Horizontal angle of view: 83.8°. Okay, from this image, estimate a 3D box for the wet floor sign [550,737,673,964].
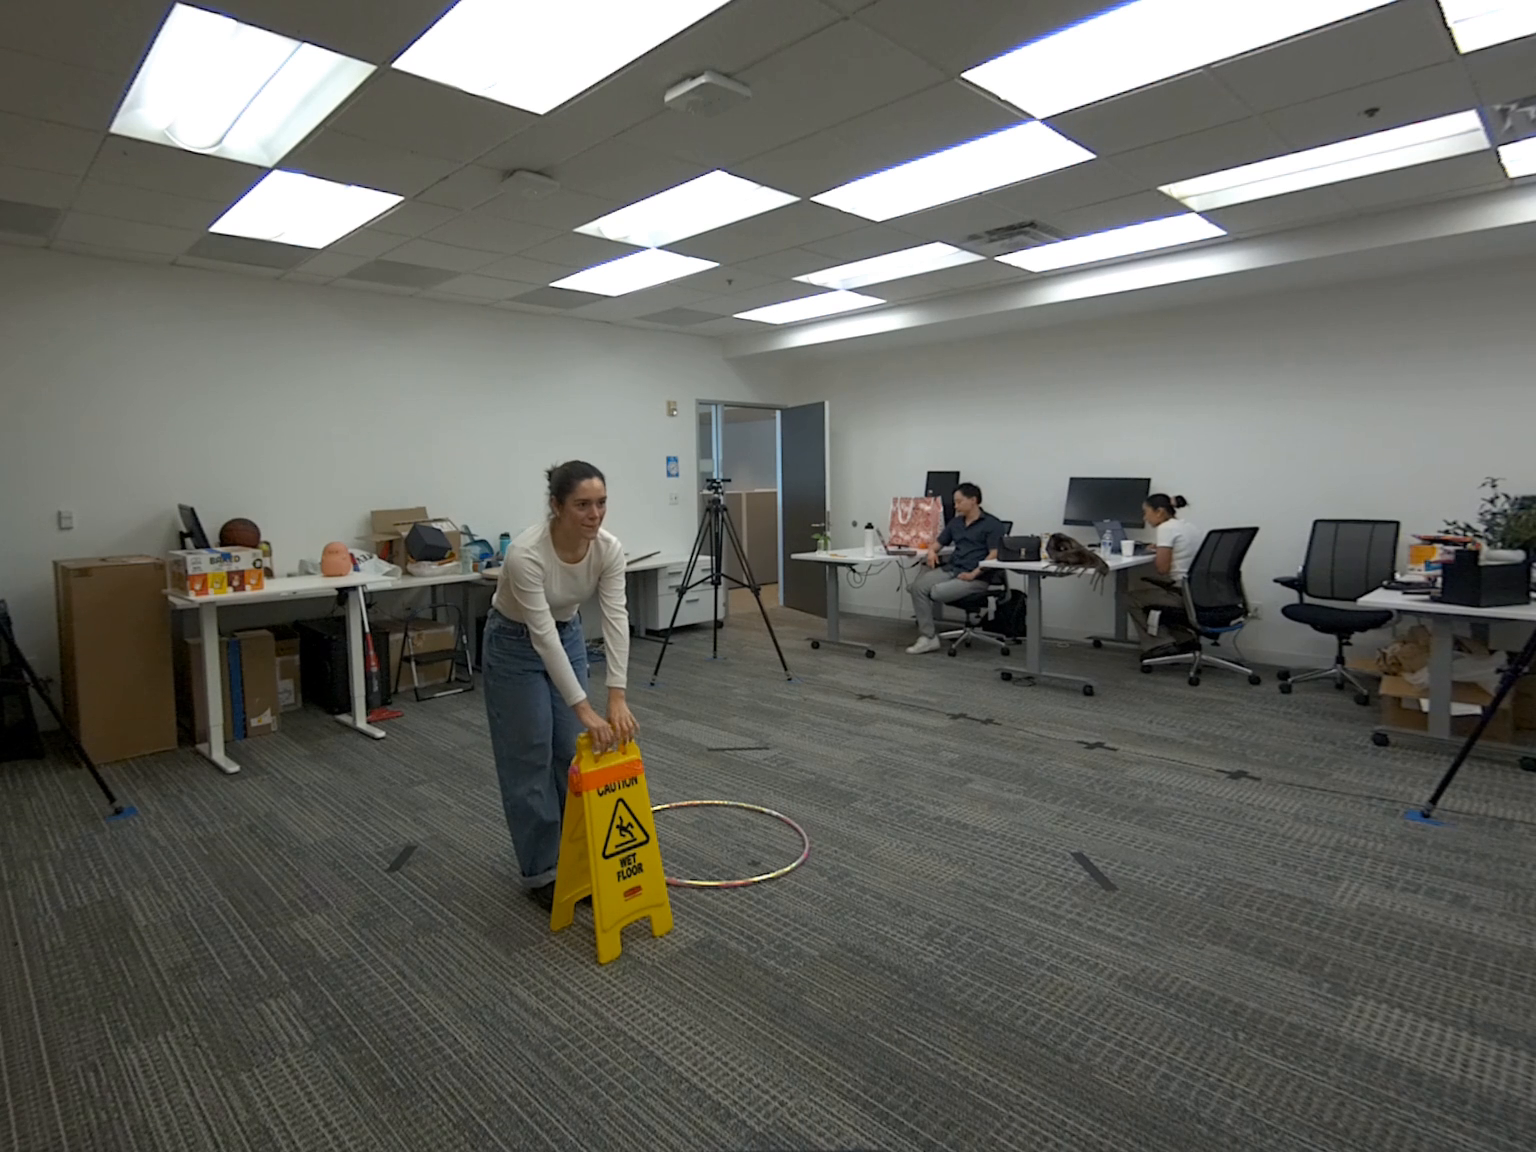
[{"bbox_3d":[-0.486,0.784,2.641,0.275,0.643,0.299,-6,8,-45],"label":"wet floor sign"}]
